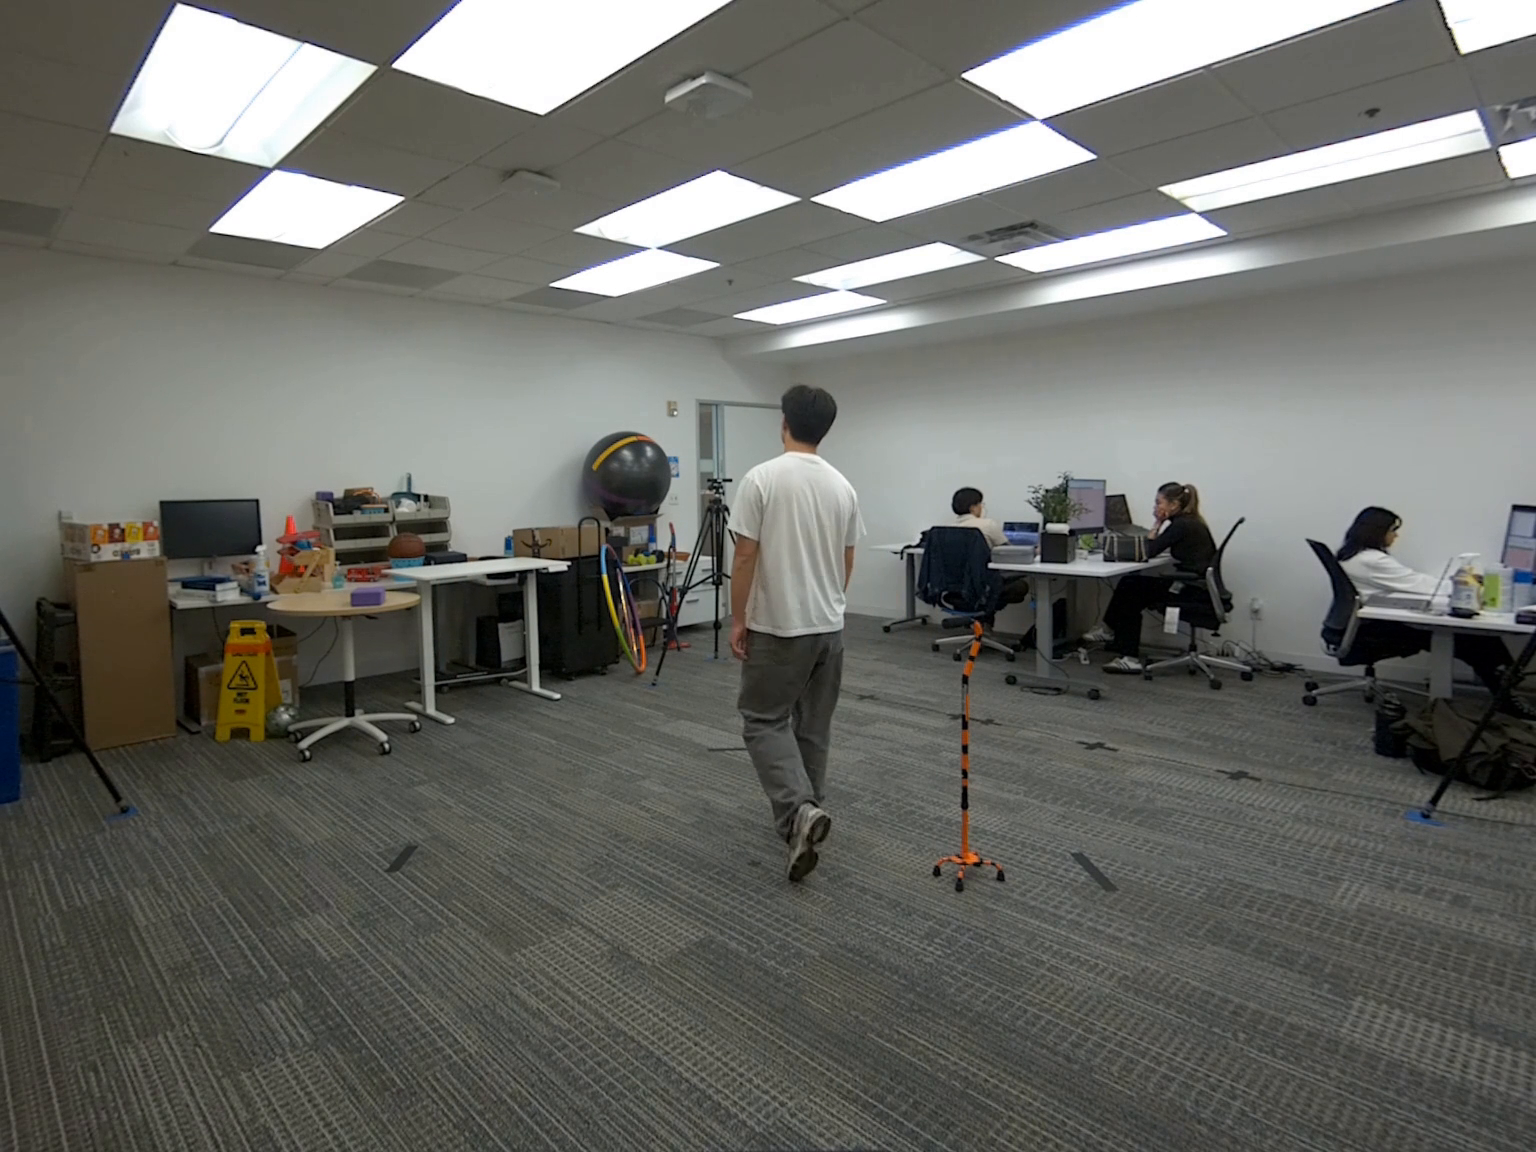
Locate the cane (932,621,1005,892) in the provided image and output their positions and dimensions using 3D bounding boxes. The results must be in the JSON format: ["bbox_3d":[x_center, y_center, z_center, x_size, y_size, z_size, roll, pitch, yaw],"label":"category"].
[{"bbox_3d":[0.694,0.594,2.944,0.202,0.905,0.155,-2,4,-26],"label":"cane"}]
